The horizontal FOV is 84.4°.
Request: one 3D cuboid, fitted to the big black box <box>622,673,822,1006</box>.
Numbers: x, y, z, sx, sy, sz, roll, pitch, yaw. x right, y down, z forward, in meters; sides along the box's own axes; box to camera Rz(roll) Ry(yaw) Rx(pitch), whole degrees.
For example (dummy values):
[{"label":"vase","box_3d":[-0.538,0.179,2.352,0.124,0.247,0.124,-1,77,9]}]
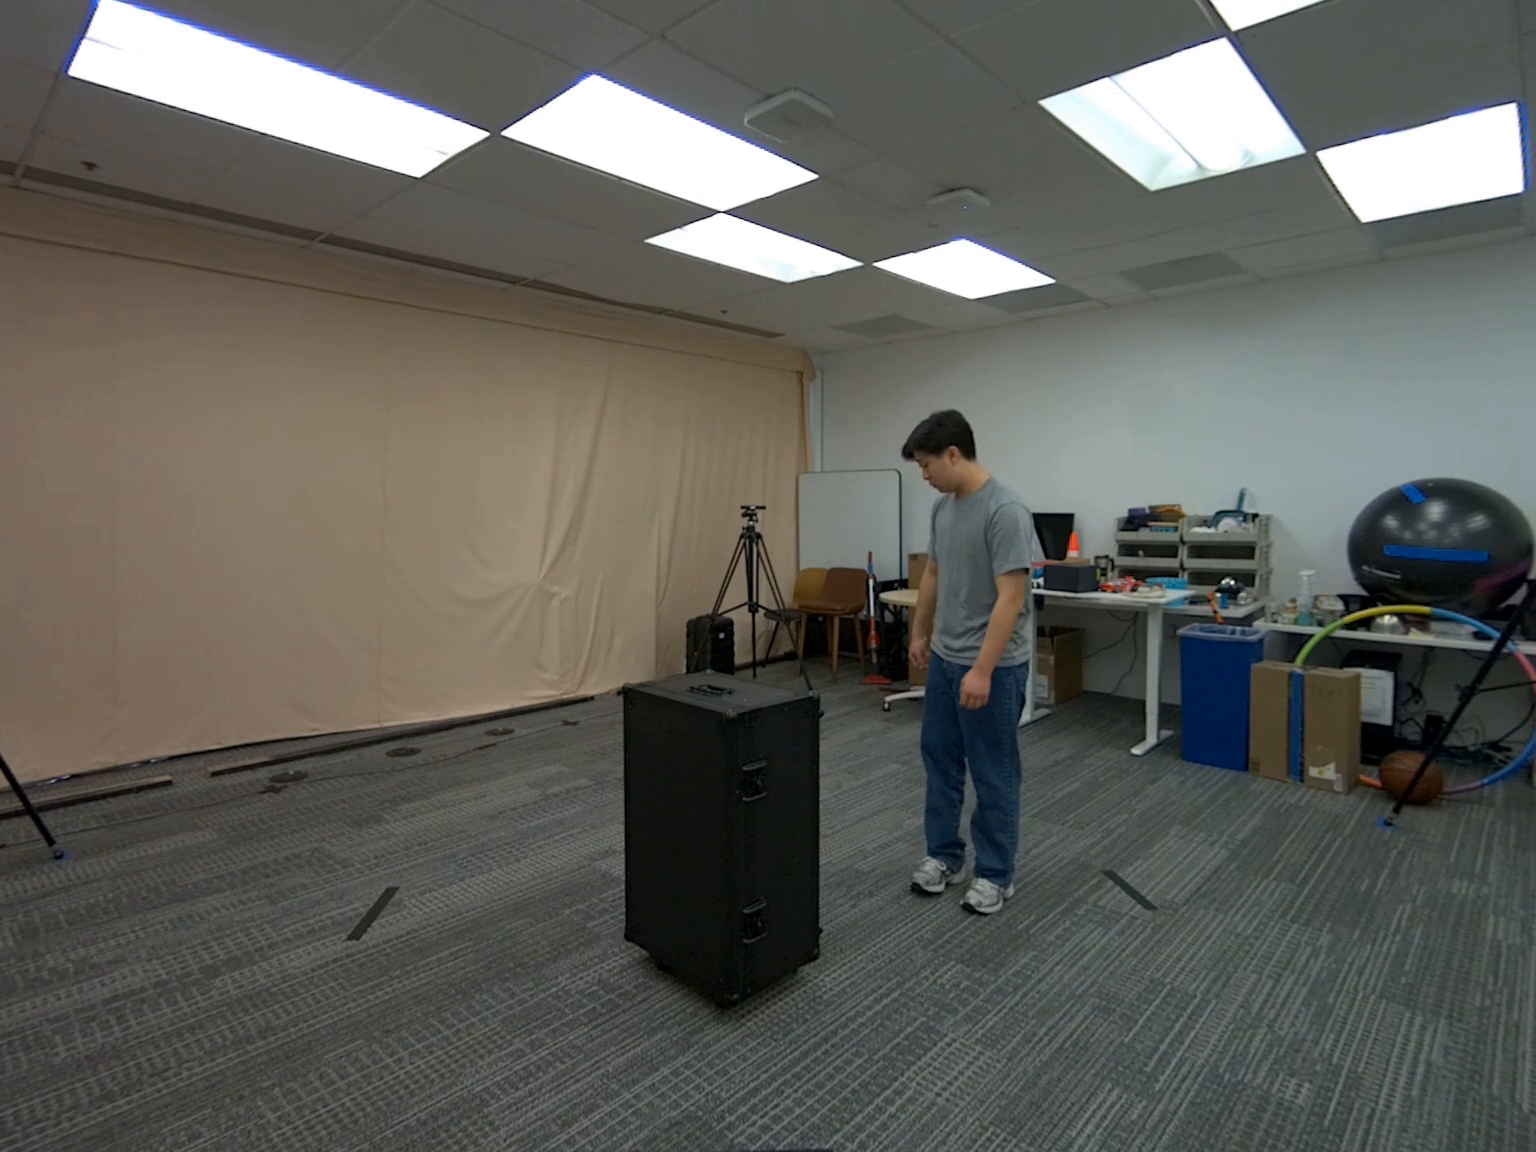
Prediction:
[{"label":"big black box","box_3d":[-0.136,0.758,2.504,0.384,0.860,0.539,-2,4,-44]}]
